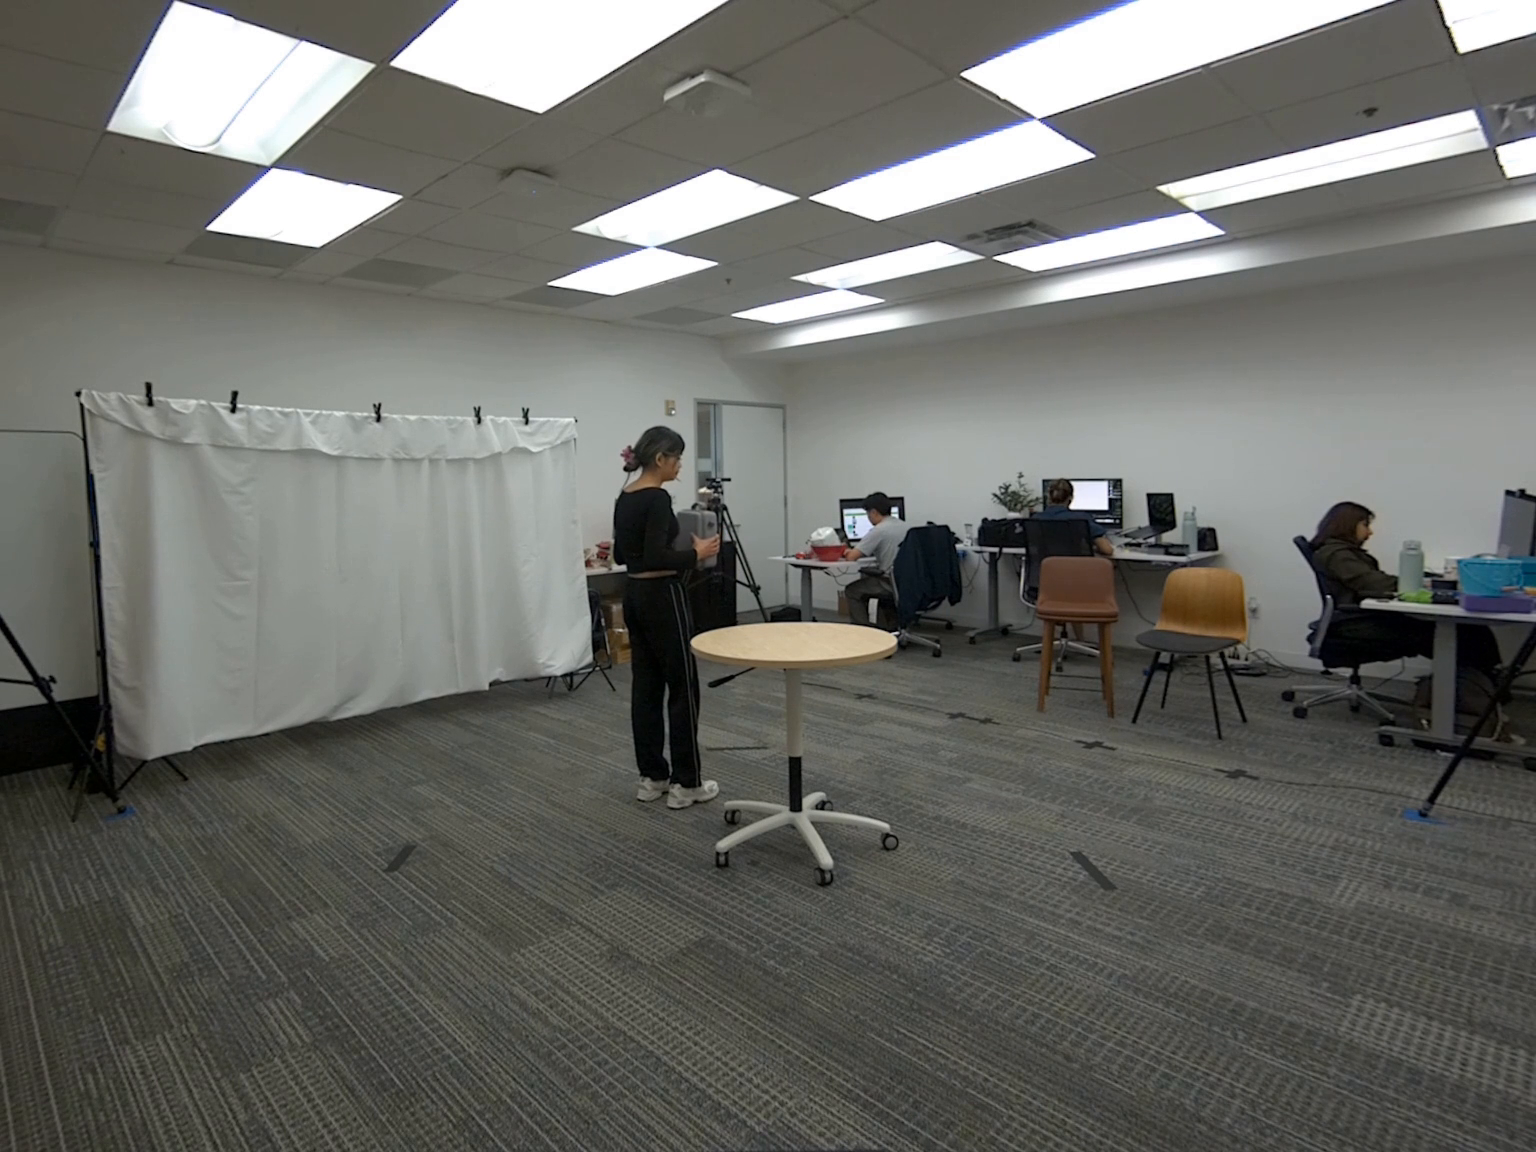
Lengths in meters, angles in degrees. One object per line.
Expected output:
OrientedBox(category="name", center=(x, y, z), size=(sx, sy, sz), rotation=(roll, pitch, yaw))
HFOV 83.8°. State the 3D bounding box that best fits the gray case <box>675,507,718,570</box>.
OrientedBox(category="gray case", center=(-0.331, -0.174, 3.862), size=(0.102, 0.260, 0.263), rotation=(0, 5, -25))
